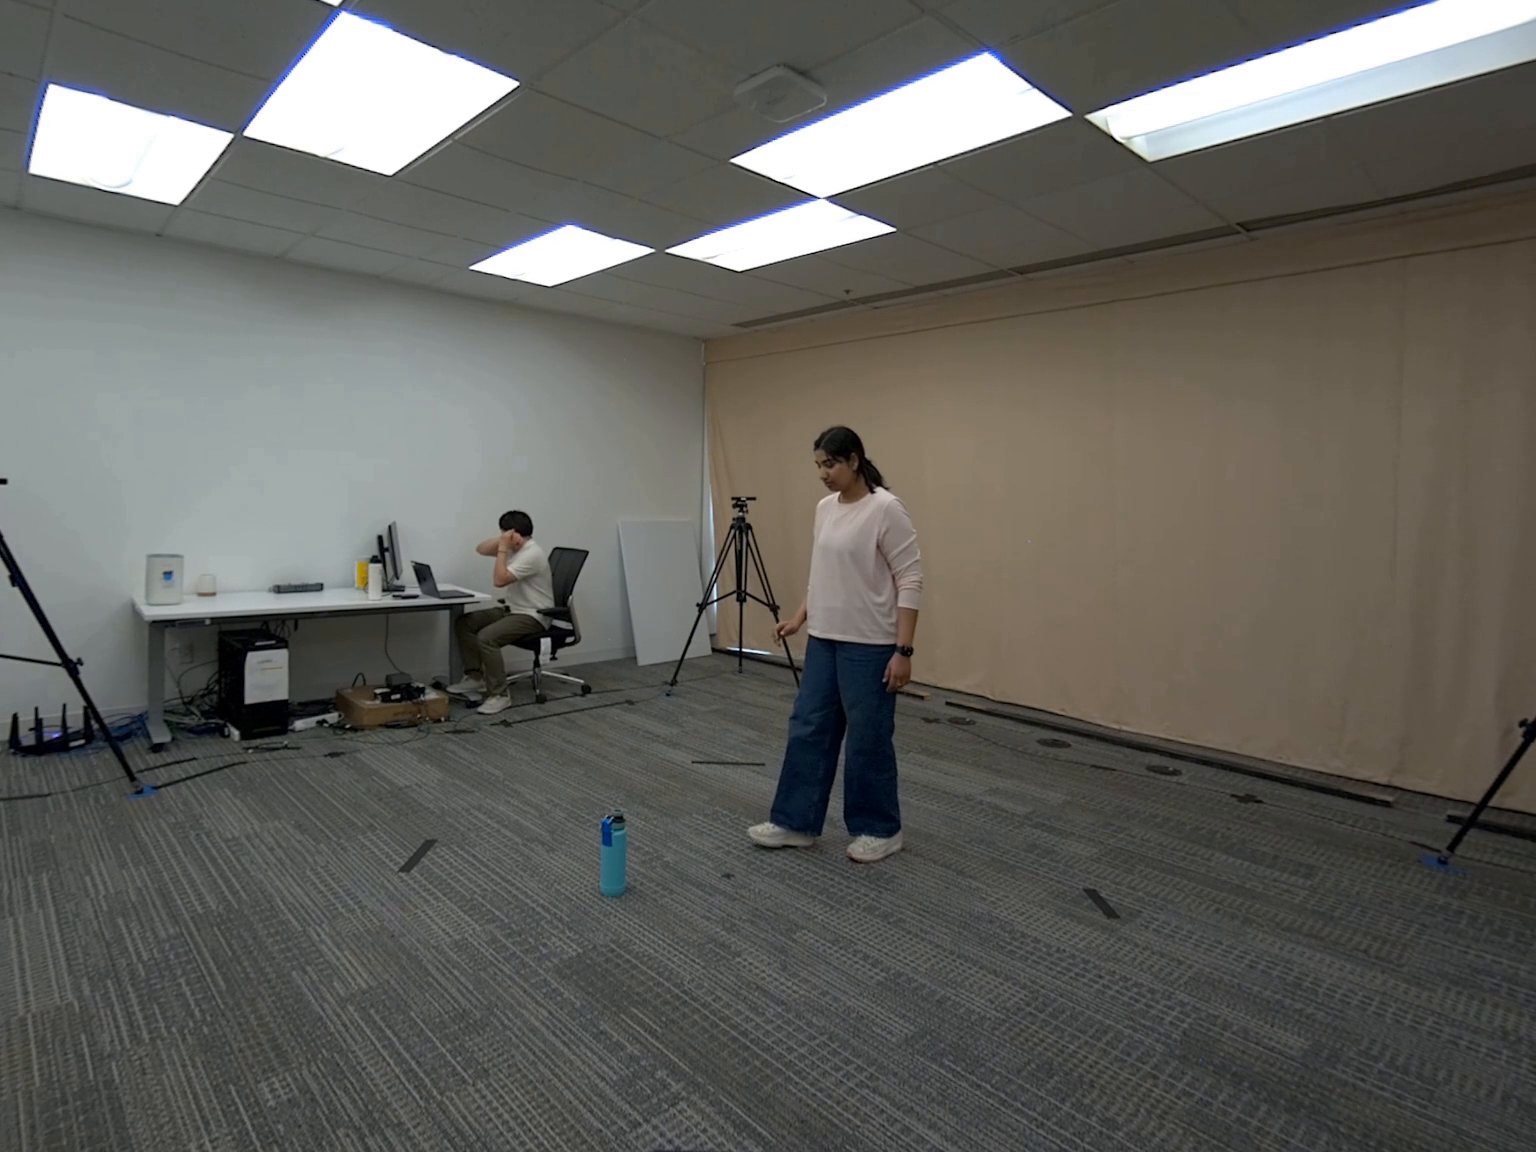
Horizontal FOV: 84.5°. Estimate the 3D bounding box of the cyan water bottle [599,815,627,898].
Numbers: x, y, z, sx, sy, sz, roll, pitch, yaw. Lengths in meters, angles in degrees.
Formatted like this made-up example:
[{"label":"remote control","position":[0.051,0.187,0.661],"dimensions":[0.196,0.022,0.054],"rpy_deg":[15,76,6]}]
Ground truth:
[{"label":"cyan water bottle","position":[-0.555,0.974,2.955],"dimensions":[0.092,0.283,0.092],"rpy_deg":[1,3,-1]}]
